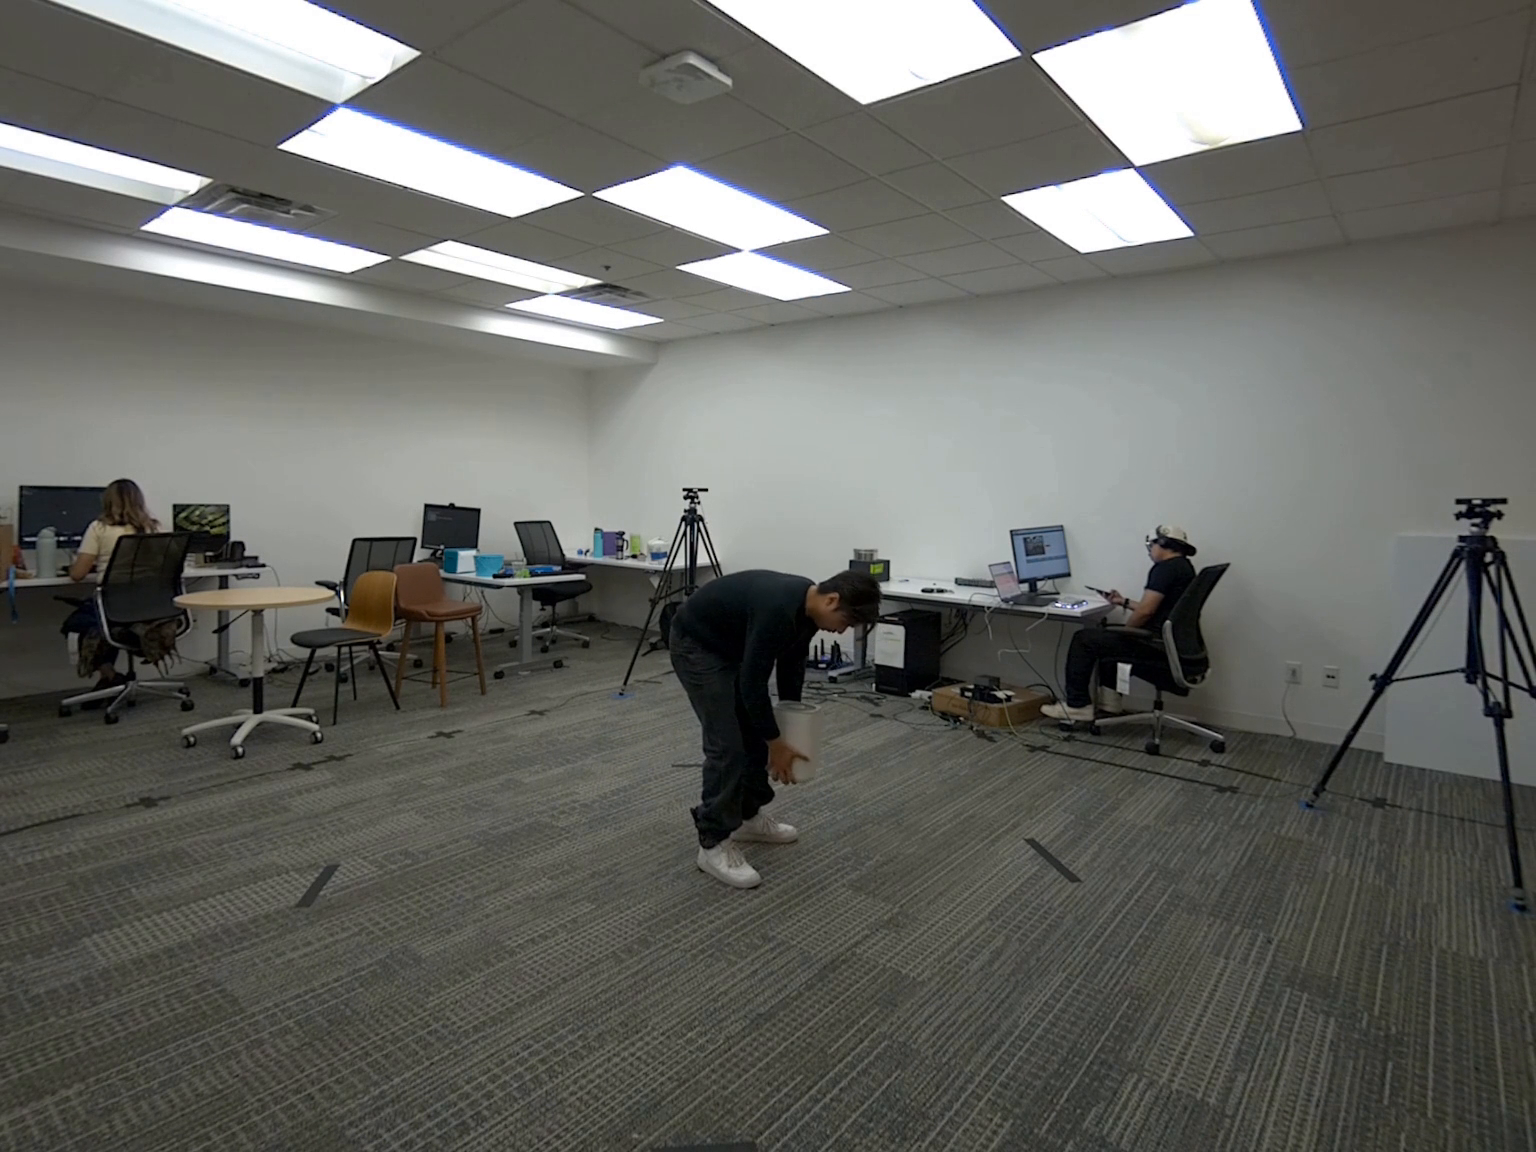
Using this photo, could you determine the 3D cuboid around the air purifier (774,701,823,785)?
[{"bbox_3d":[0.086,0.619,3.177,0.174,0.265,0.168,3,3,18],"label":"air purifier"}]
